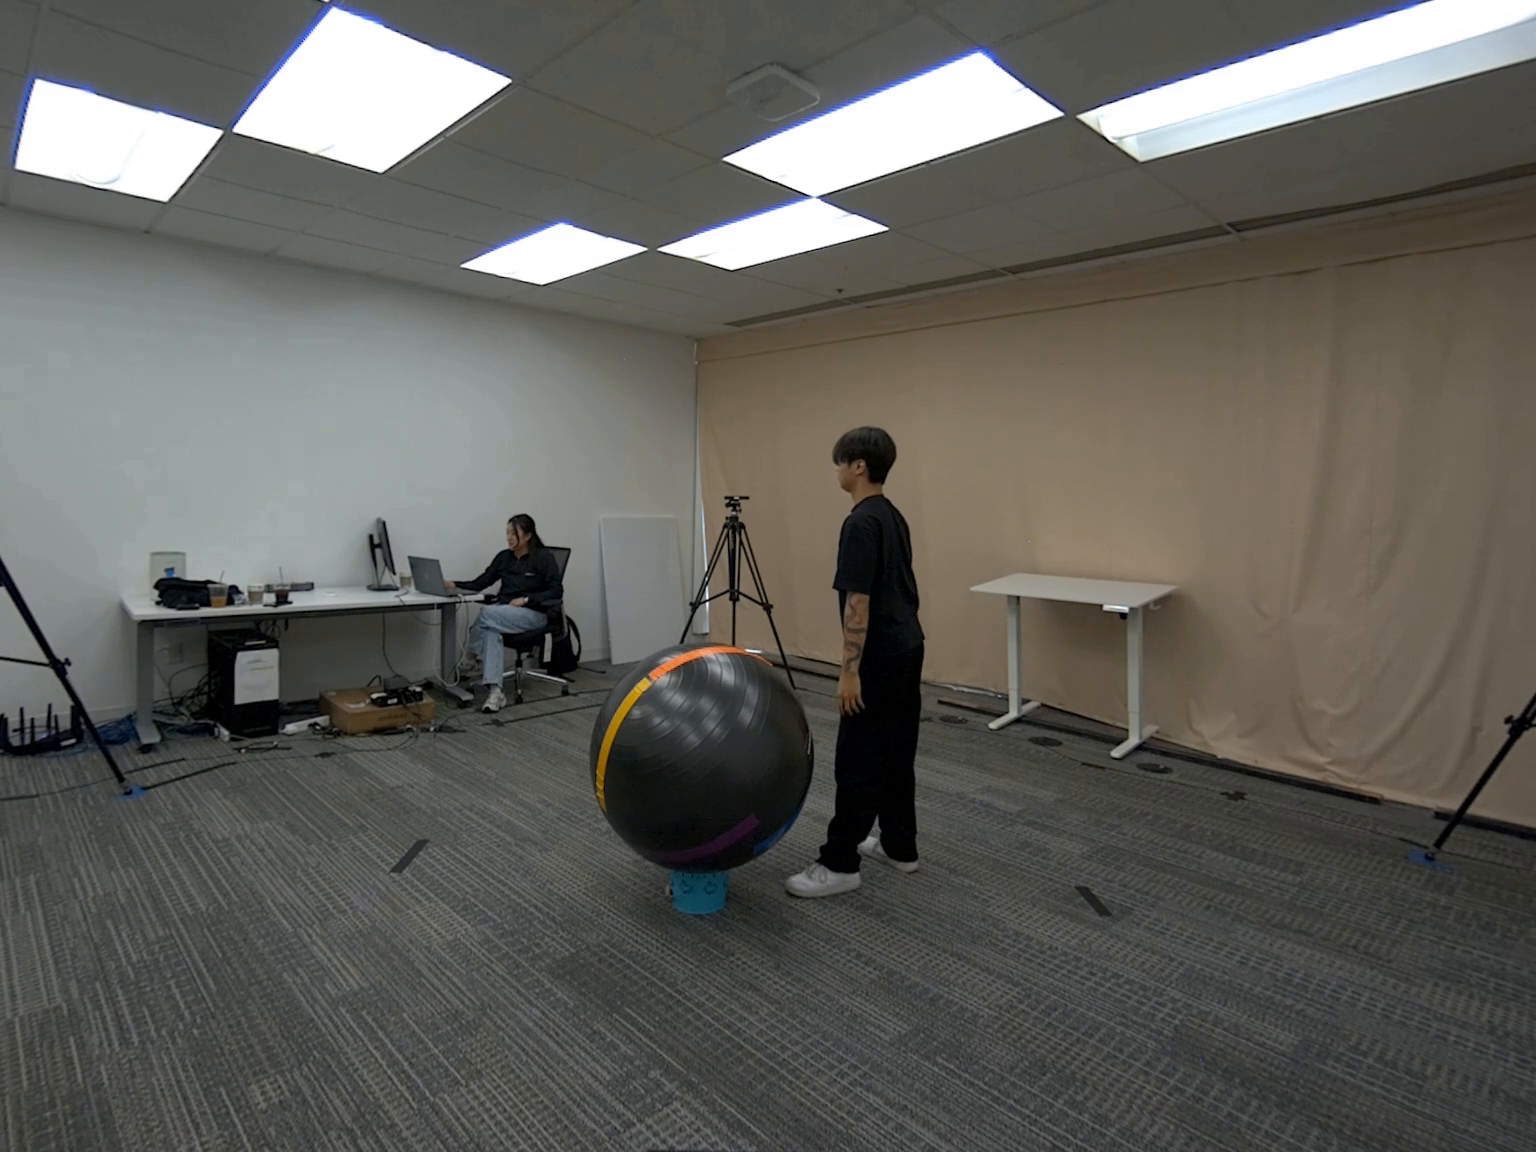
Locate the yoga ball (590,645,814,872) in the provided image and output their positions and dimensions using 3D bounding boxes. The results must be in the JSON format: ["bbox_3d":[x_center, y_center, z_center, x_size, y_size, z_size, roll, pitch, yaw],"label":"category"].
[{"bbox_3d":[-0.225,0.608,2.866,0.757,0.756,0.761,1,4,-1],"label":"yoga ball"}]
